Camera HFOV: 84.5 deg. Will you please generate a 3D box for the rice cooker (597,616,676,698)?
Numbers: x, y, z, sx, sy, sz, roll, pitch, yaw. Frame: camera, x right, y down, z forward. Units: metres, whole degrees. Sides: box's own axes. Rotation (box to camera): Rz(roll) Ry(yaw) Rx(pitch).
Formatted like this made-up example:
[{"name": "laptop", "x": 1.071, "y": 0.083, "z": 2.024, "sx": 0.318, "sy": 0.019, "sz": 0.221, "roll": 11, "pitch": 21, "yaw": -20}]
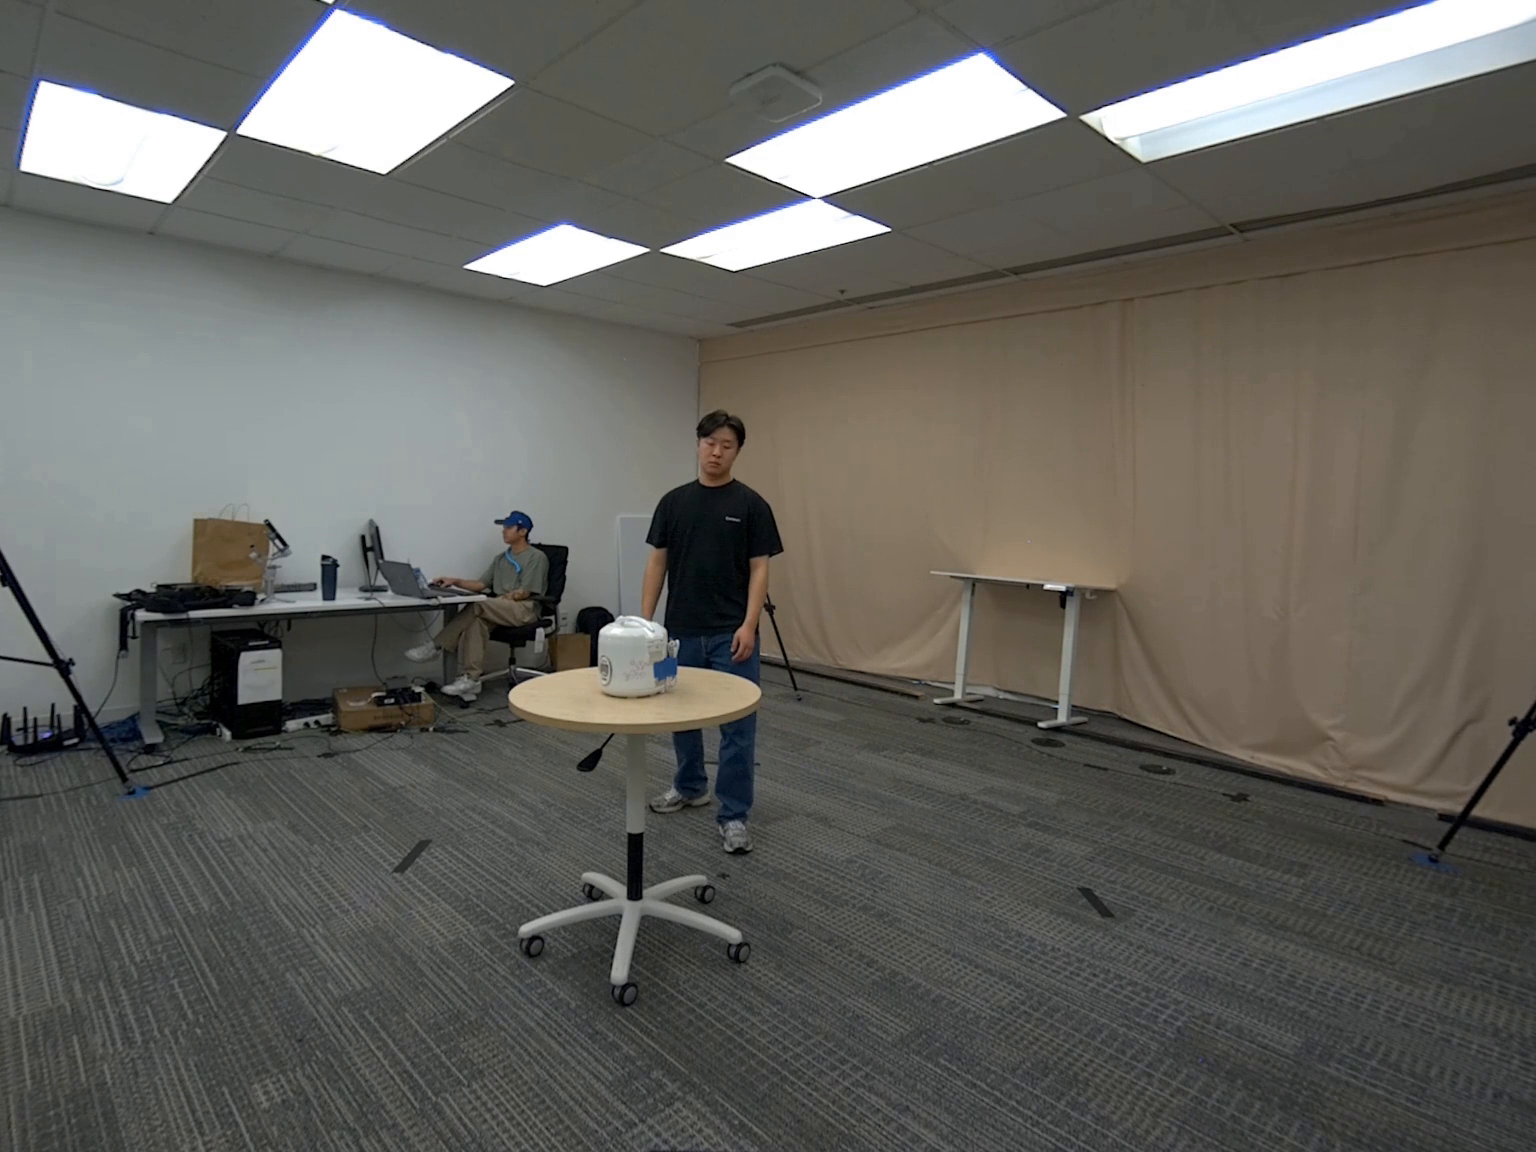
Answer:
[{"name": "rice cooker", "x": -0.423, "y": 0.242, "z": 2.557, "sx": 0.226, "sy": 0.232, "sz": 0.212, "roll": 5, "pitch": 4, "yaw": 43}]
